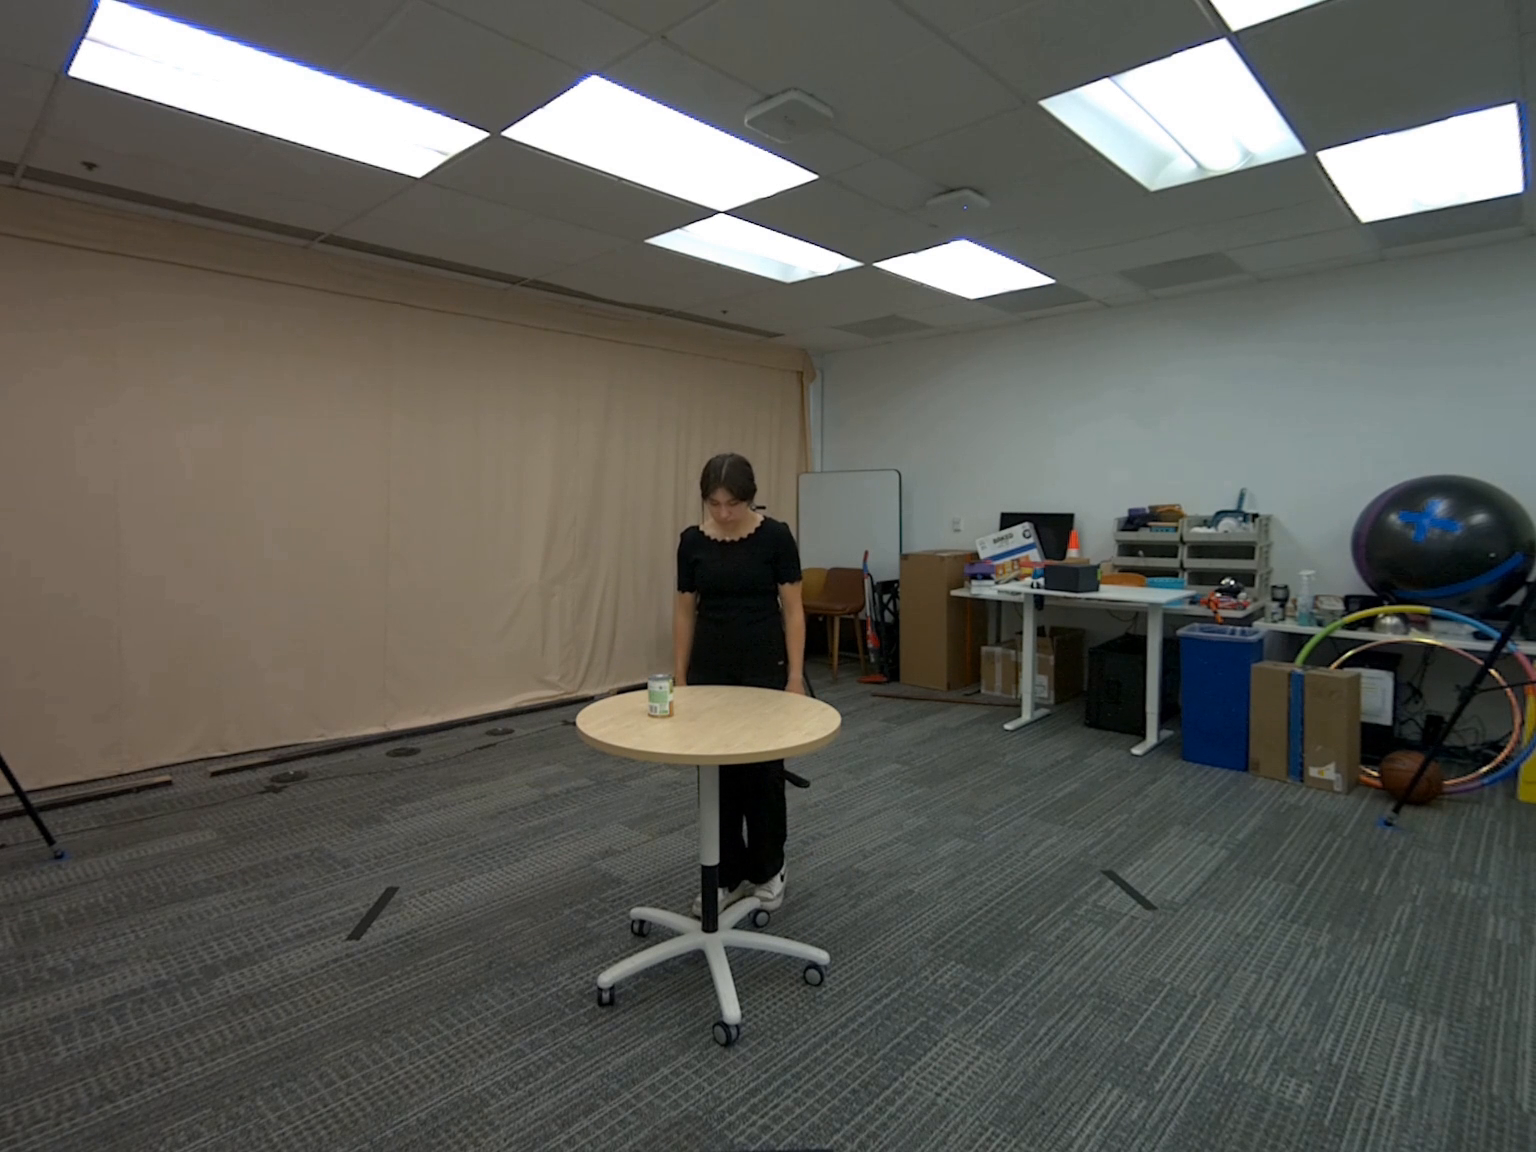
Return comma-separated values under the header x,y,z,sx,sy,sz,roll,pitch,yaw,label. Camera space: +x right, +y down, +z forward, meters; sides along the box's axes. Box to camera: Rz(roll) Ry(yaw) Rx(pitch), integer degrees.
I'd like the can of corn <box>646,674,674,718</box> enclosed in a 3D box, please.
x,y,z,sx,sy,sz,roll,pitch,yaw,label
-0.319,0.350,2.450,0.074,0.111,0.074,-2,4,-2,can of corn
